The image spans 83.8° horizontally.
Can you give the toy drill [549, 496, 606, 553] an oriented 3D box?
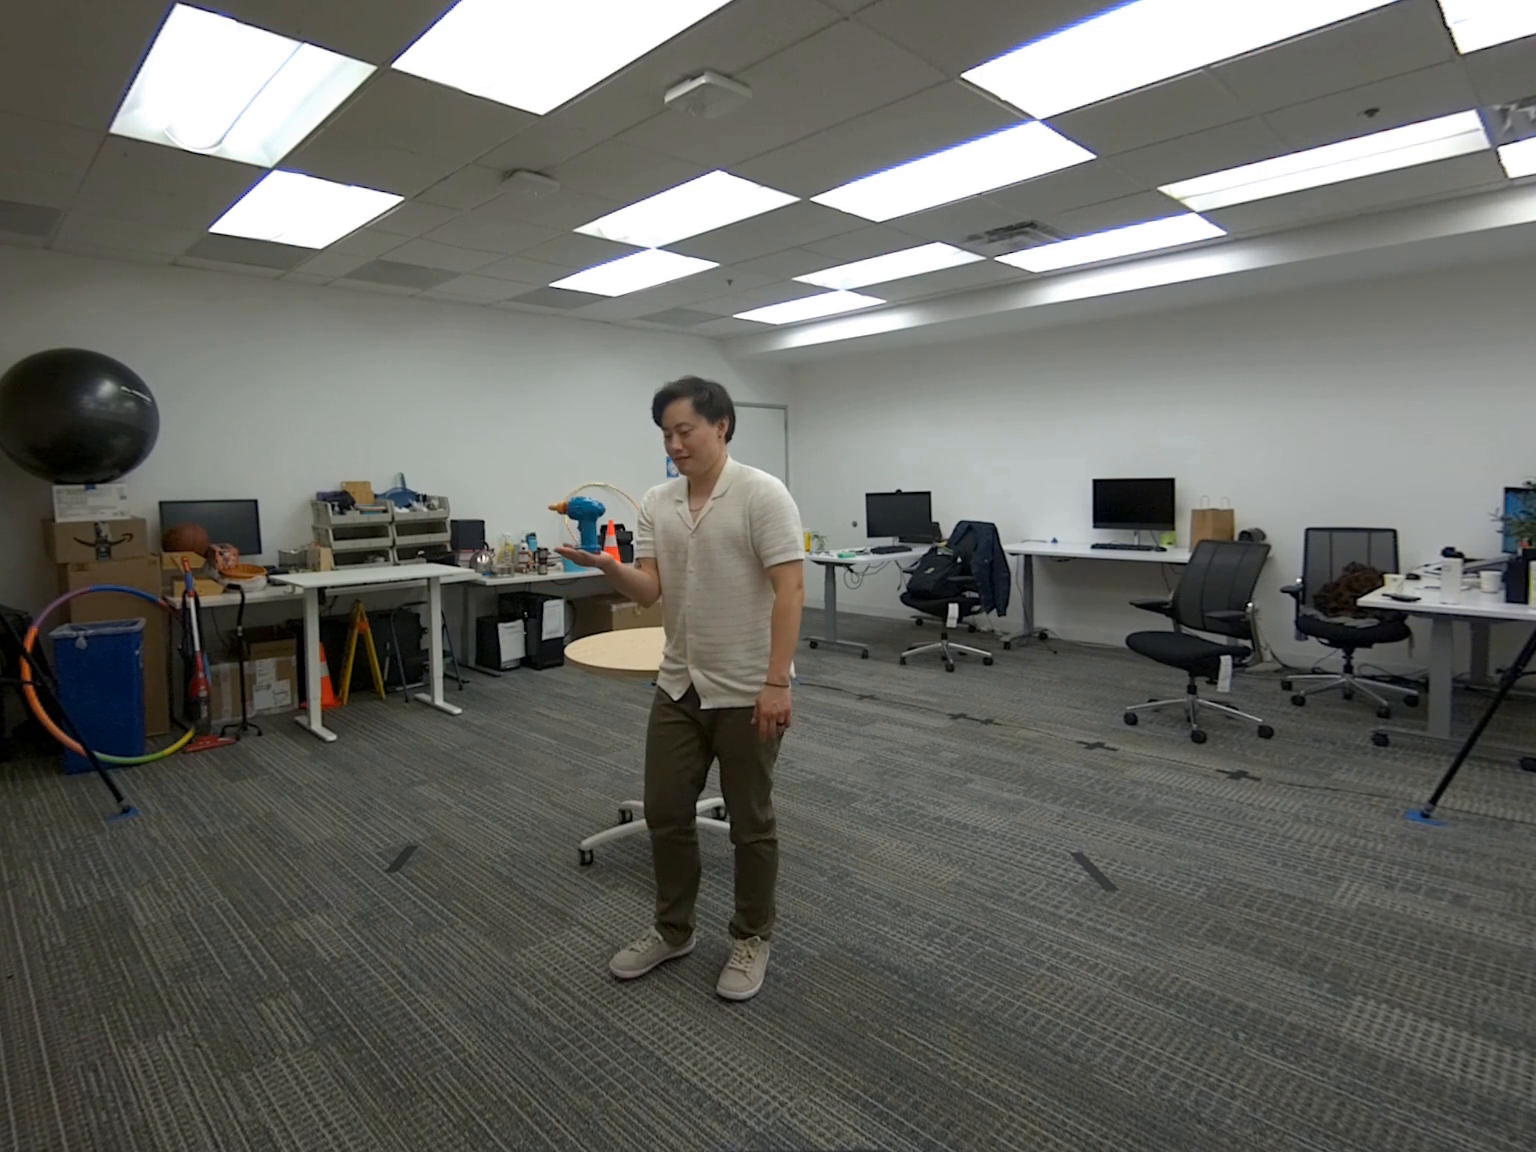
[{"bbox_3d":[-0.489,-0.135,2.173,0.172,0.145,0.061,4,8,12],"label":"toy drill"}]
